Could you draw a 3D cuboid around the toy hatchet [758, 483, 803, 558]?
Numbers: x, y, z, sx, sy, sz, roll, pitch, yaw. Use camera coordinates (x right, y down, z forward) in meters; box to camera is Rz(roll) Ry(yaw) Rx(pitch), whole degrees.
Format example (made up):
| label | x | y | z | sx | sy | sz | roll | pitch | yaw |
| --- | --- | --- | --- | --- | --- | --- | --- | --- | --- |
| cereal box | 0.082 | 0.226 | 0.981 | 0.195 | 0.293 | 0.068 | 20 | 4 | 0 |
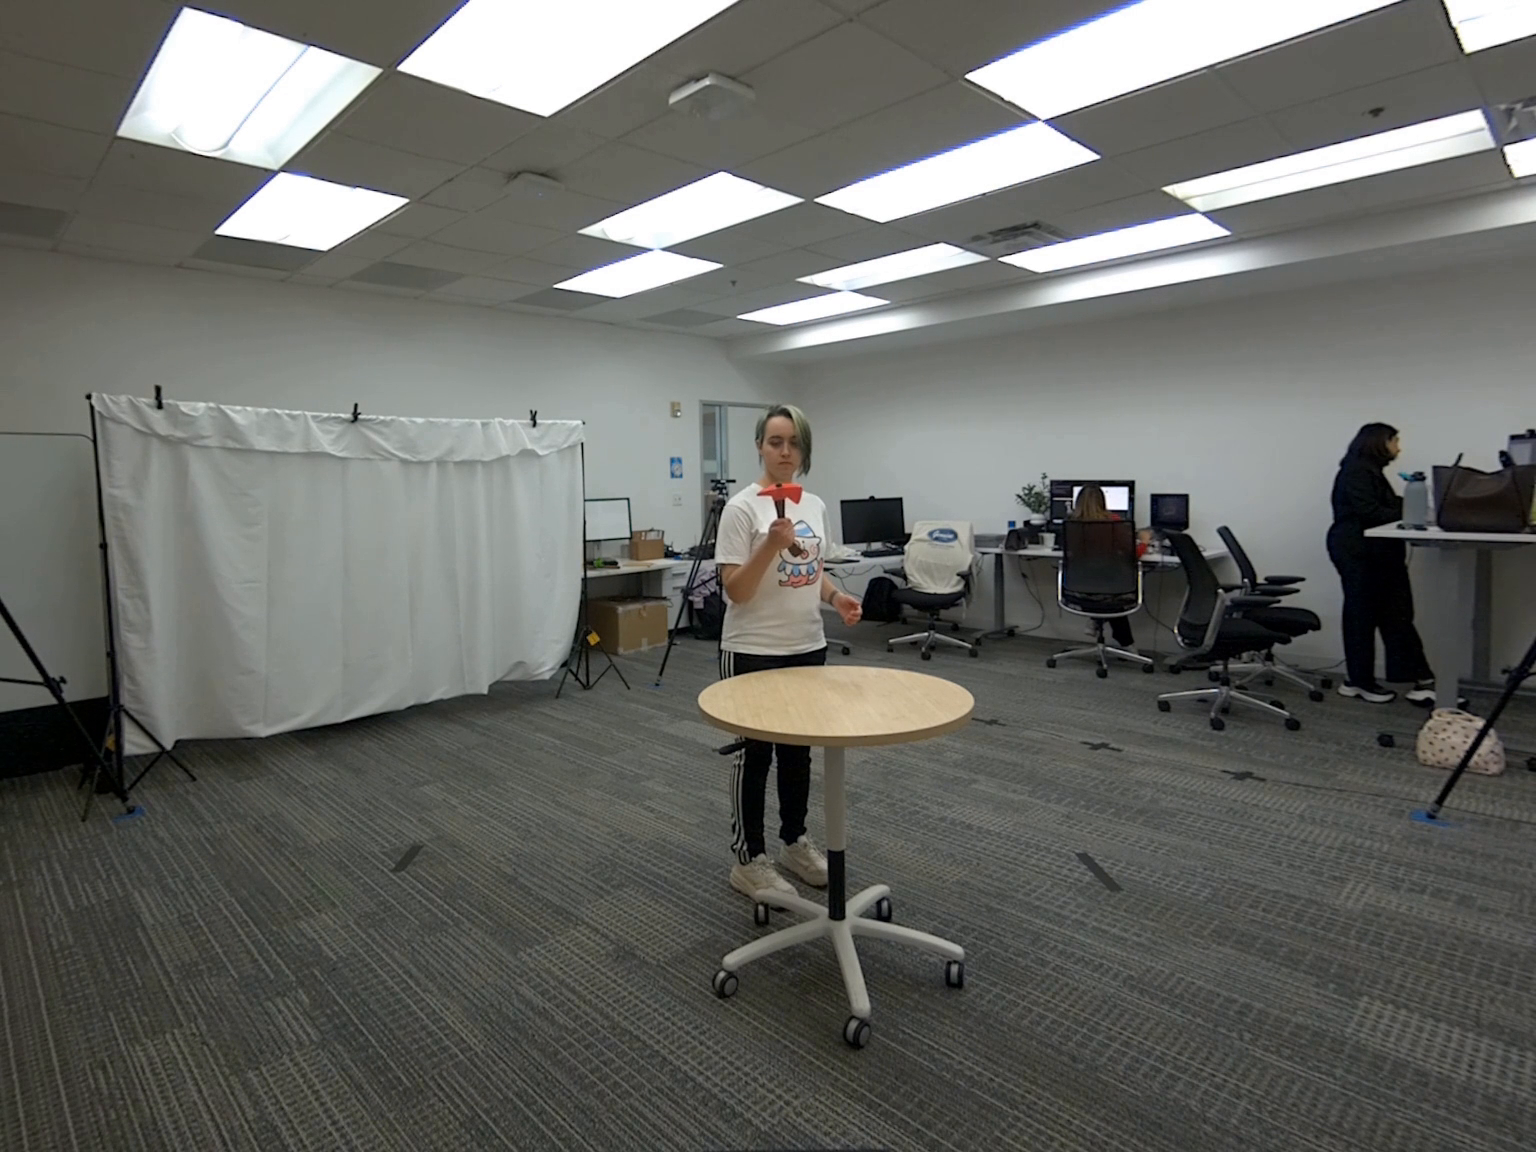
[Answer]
| label | x | y | z | sx | sy | sz | roll | pitch | yaw |
| --- | --- | --- | --- | --- | --- | --- | --- | --- | --- |
| toy hatchet | 0.072 | -0.181 | 2.588 | 0.132 | 0.261 | 0.030 | -27 | 31 | 12 |
